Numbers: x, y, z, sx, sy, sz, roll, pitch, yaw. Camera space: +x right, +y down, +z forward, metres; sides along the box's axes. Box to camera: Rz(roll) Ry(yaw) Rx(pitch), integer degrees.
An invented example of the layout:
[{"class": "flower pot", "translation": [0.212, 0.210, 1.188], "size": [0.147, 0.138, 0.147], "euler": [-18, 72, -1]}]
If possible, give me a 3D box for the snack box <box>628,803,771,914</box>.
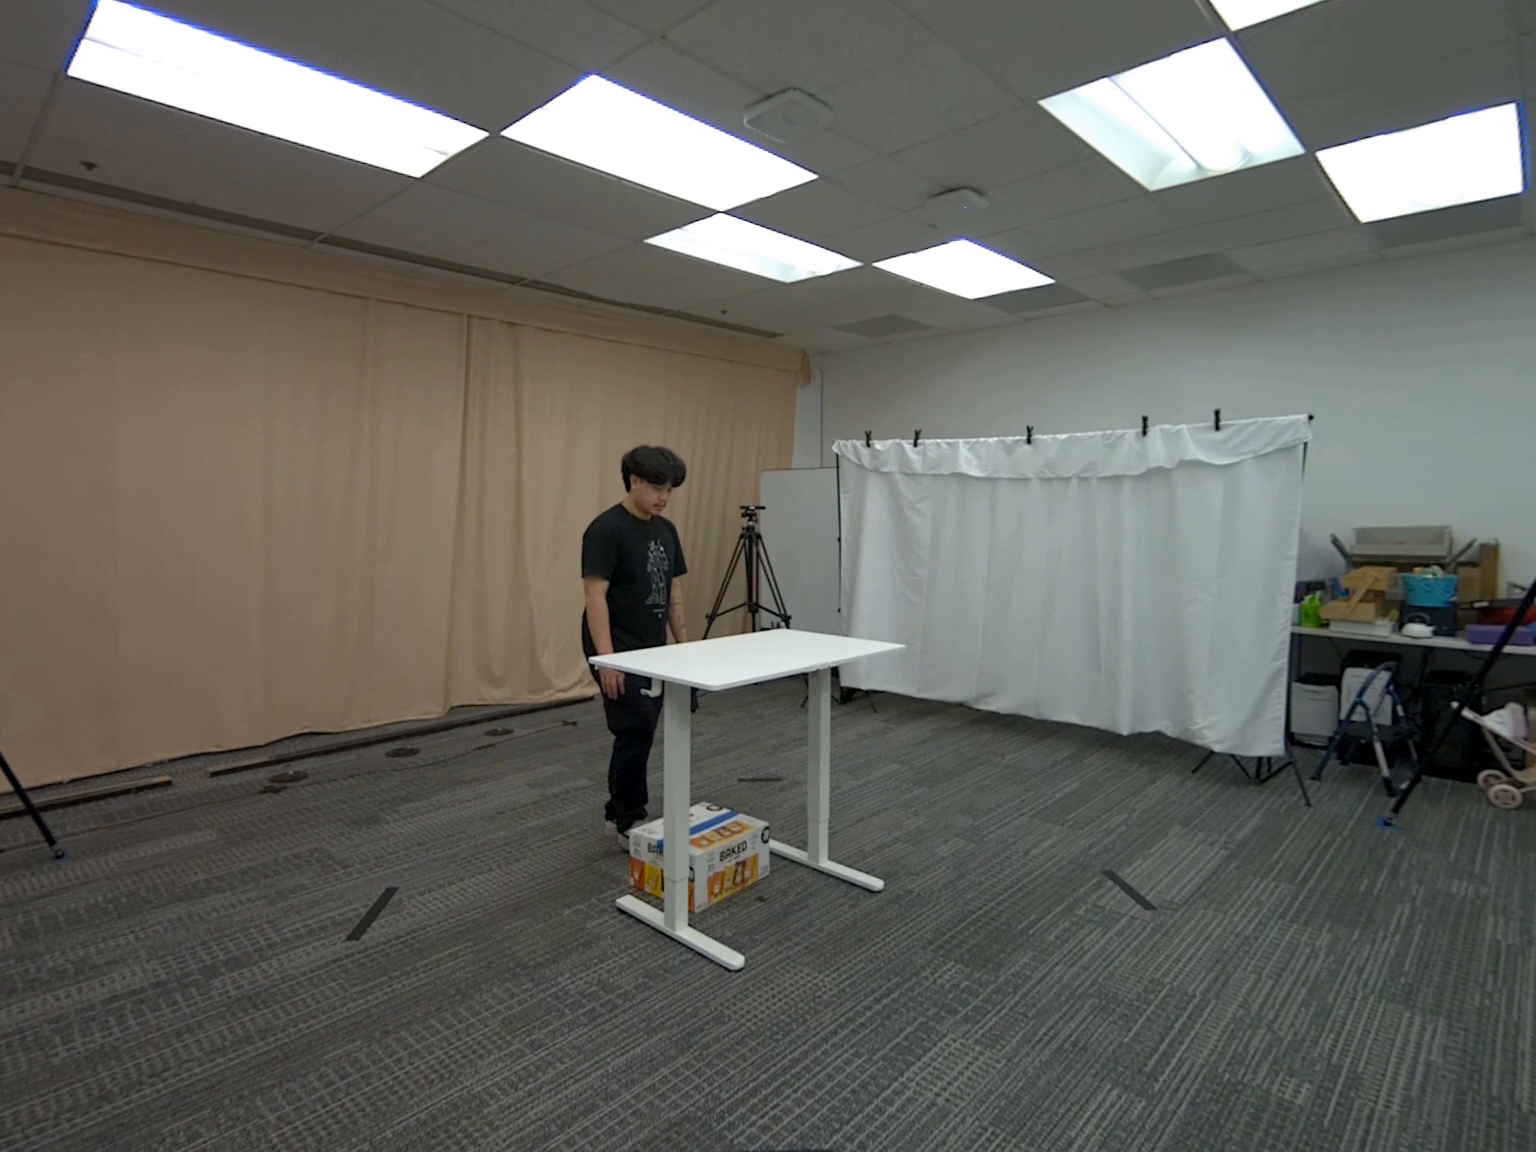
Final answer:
[{"class": "snack box", "translation": [-0.249, 1.033, 3.127], "size": [0.352, 0.205, 0.393], "euler": [4, 6, 41]}]
